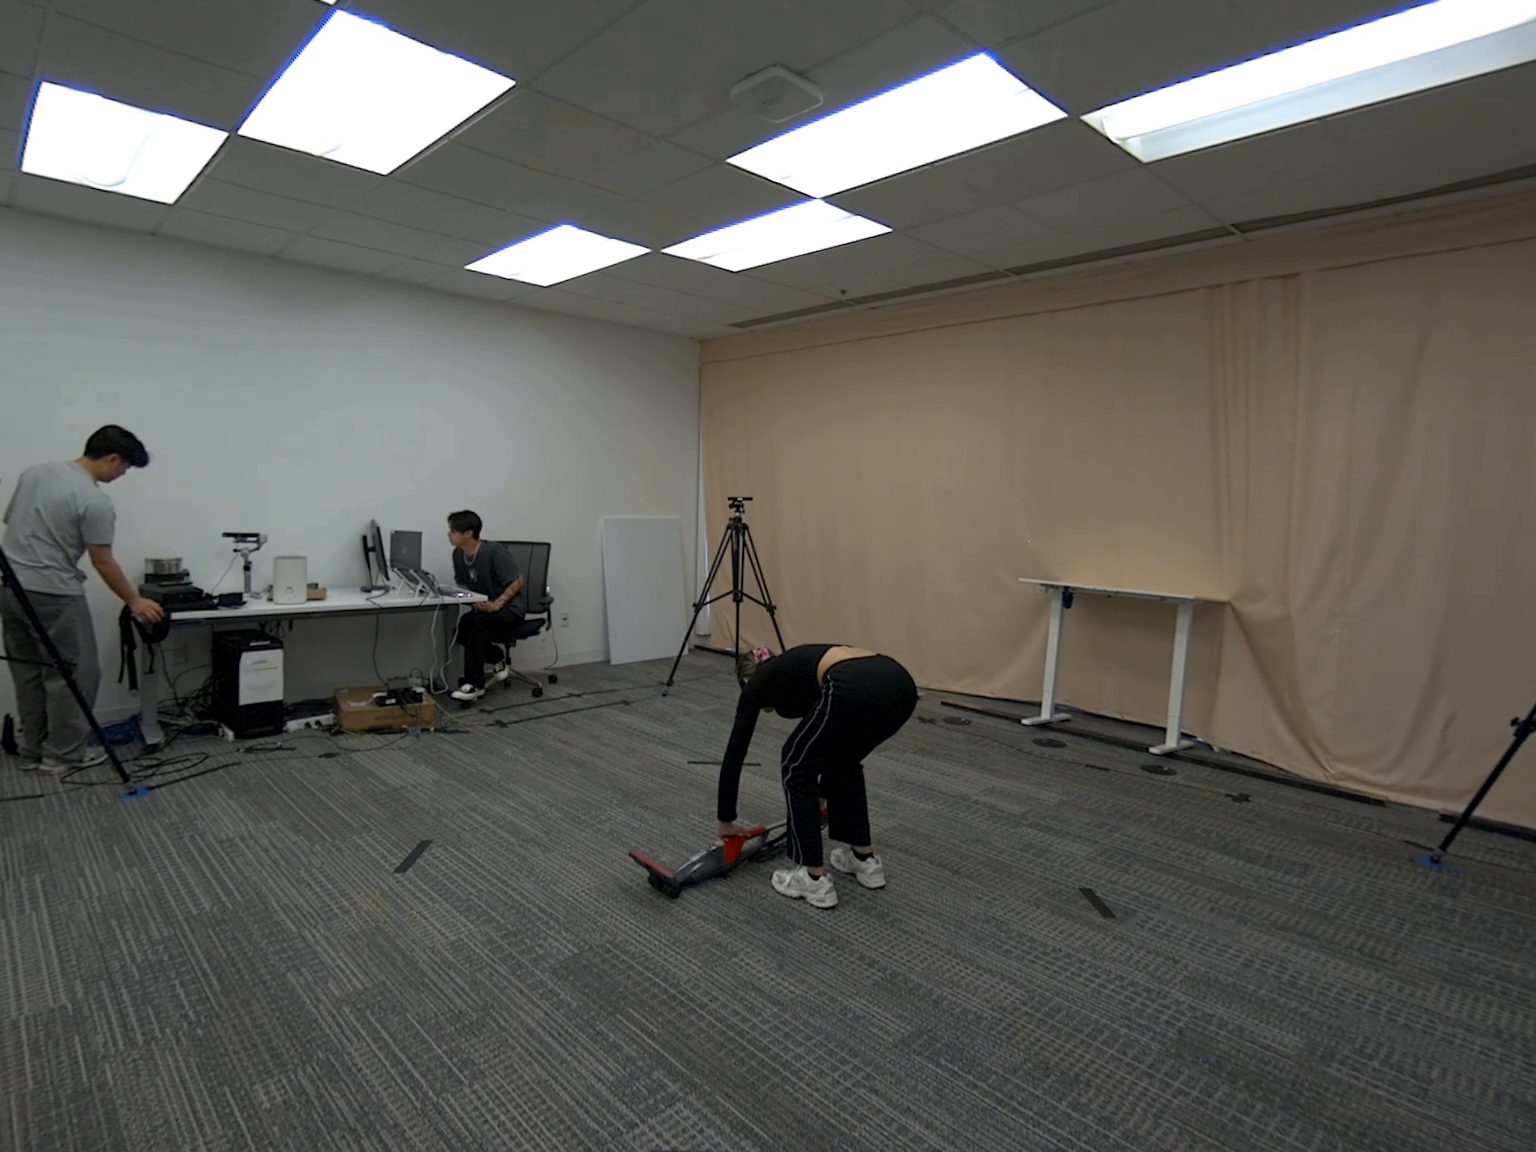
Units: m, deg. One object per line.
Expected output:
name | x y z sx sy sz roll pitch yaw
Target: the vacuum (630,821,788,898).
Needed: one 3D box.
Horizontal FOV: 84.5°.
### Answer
vacuum | -0.030 1.034 3.282 1.025 0.143 0.259 -2 9 -44
